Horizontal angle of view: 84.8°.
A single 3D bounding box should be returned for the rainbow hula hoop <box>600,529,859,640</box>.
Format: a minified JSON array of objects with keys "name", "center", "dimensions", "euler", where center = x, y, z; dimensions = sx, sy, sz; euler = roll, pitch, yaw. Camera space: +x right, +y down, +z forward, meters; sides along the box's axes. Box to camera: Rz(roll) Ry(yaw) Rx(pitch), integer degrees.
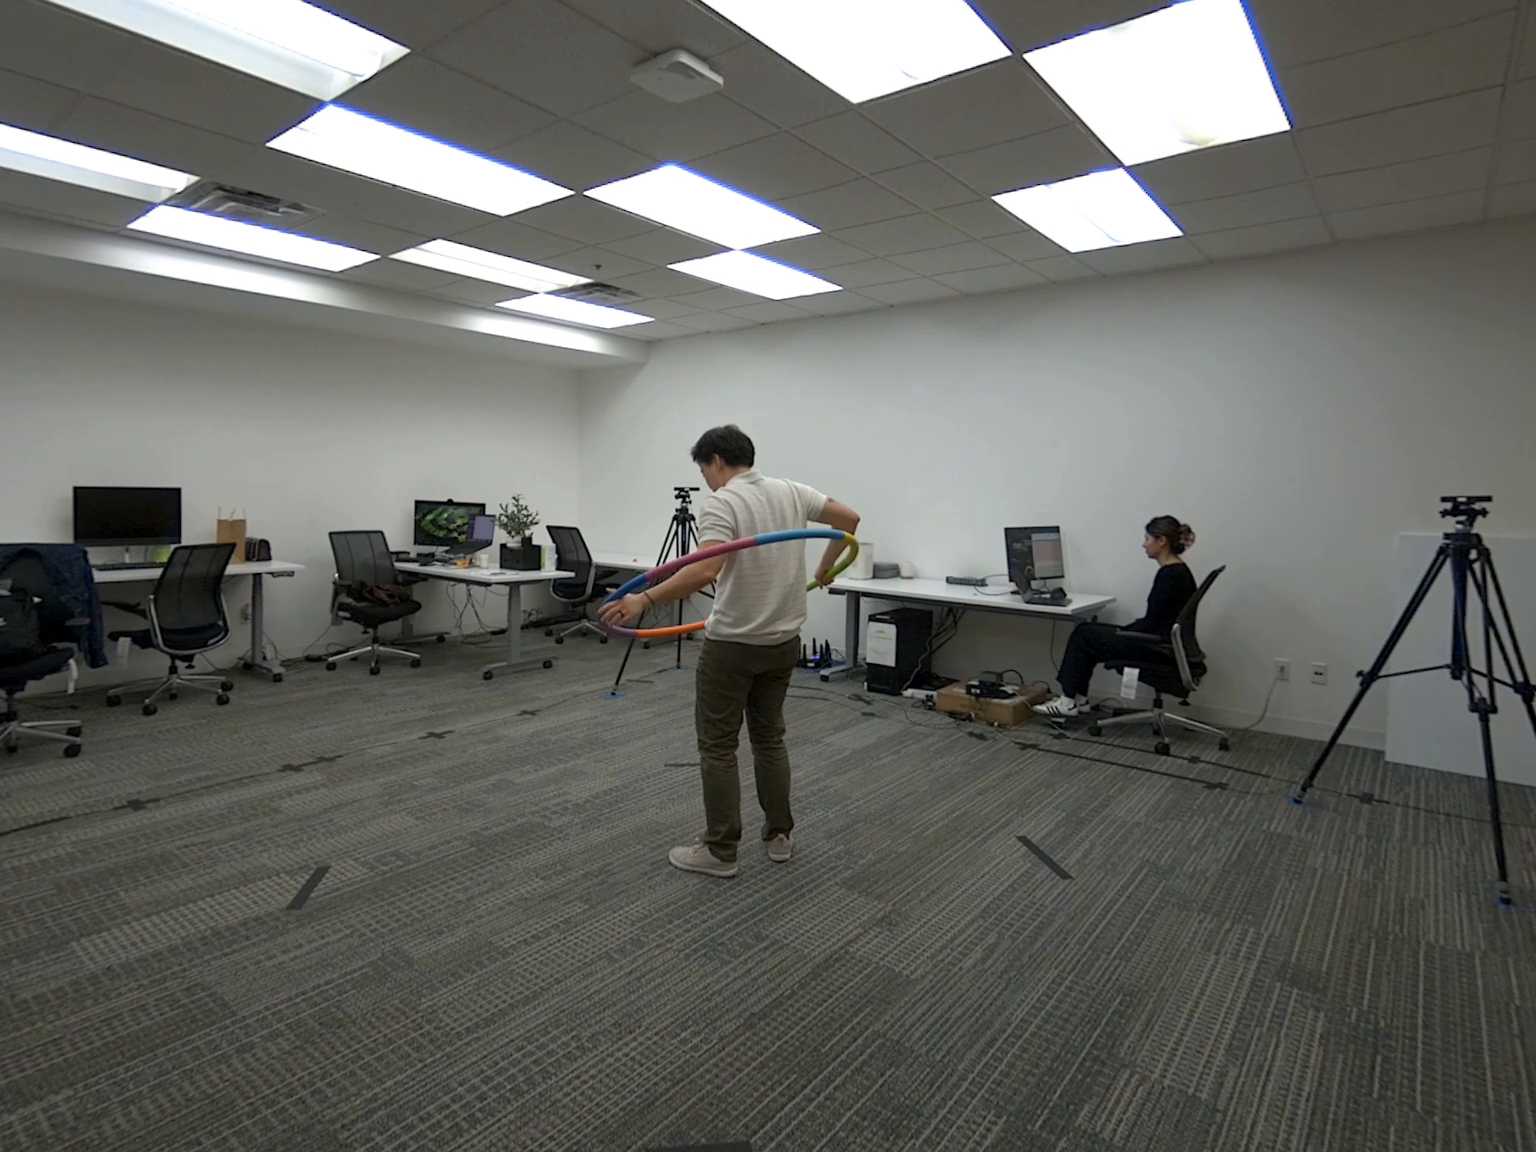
[{"name":"rainbow hula hoop","center":[-0.145,0.036,3.121],"dimensions":[0.974,0.036,0.963],"euler":[-15,-15,-7]}]
